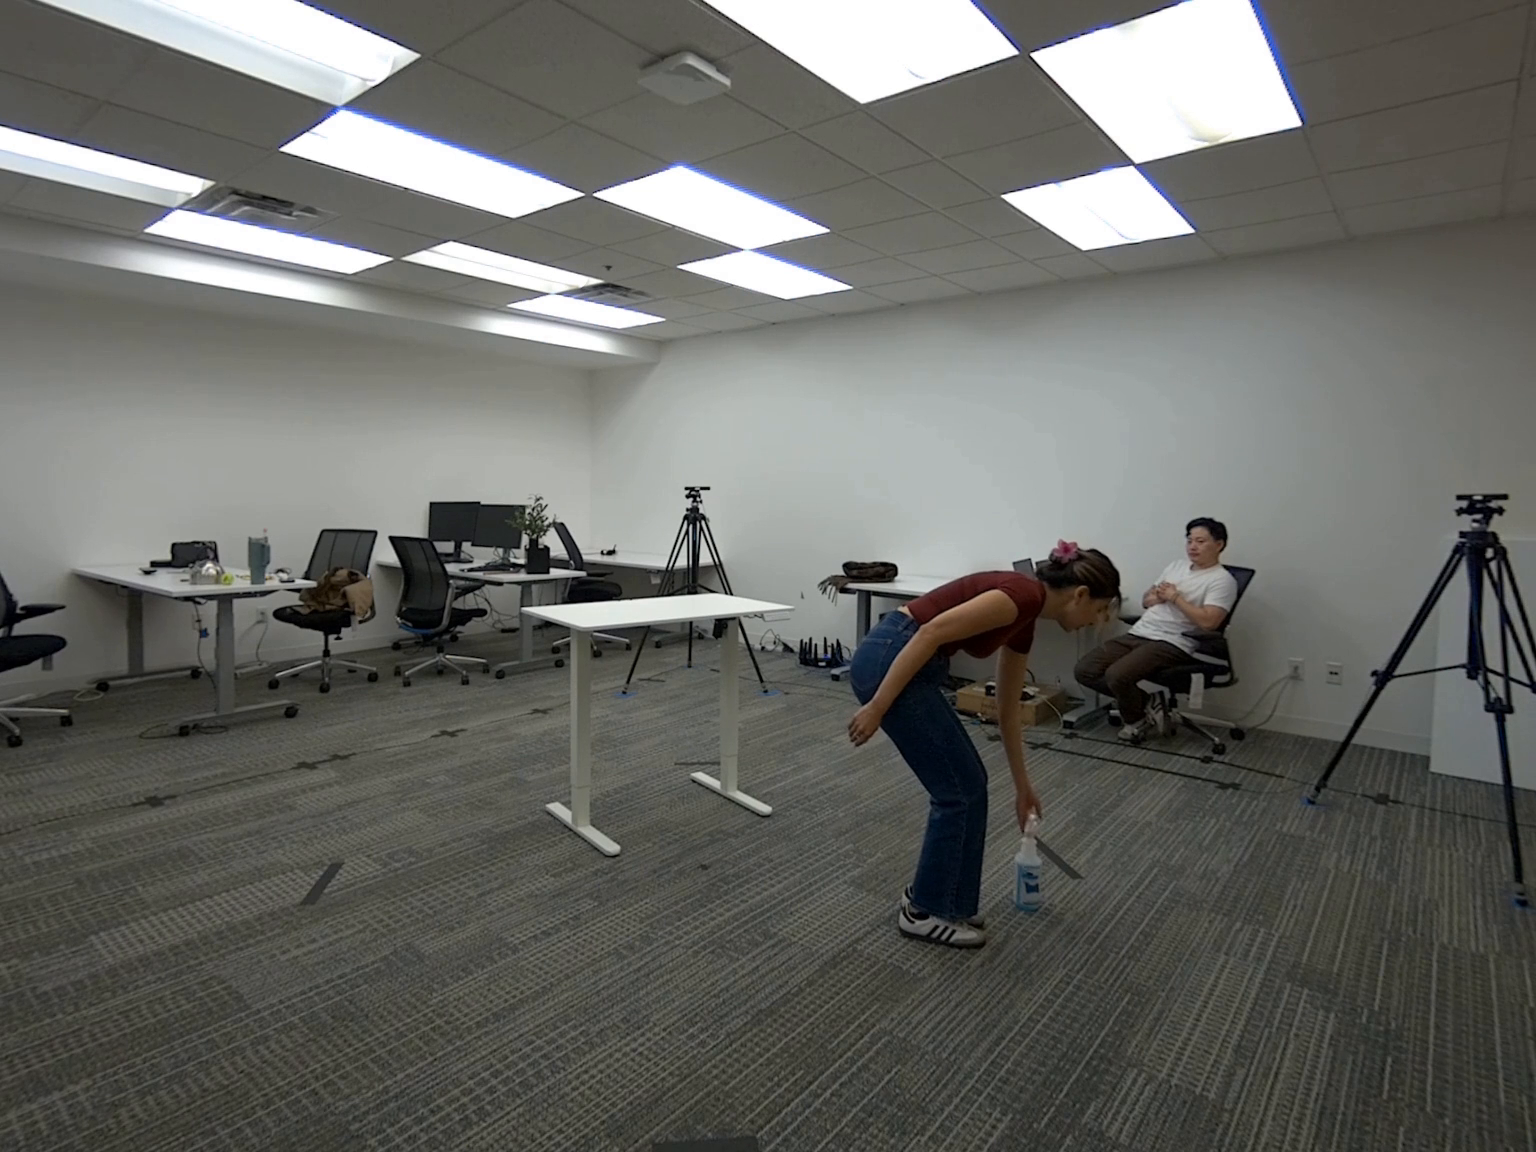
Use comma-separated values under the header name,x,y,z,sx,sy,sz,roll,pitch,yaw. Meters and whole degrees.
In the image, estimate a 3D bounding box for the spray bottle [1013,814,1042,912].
name,x,y,z,sx,sy,sz,roll,pitch,yaw
spray bottle,0.873,0.964,2.873,0.087,0.296,0.090,0,4,-31
